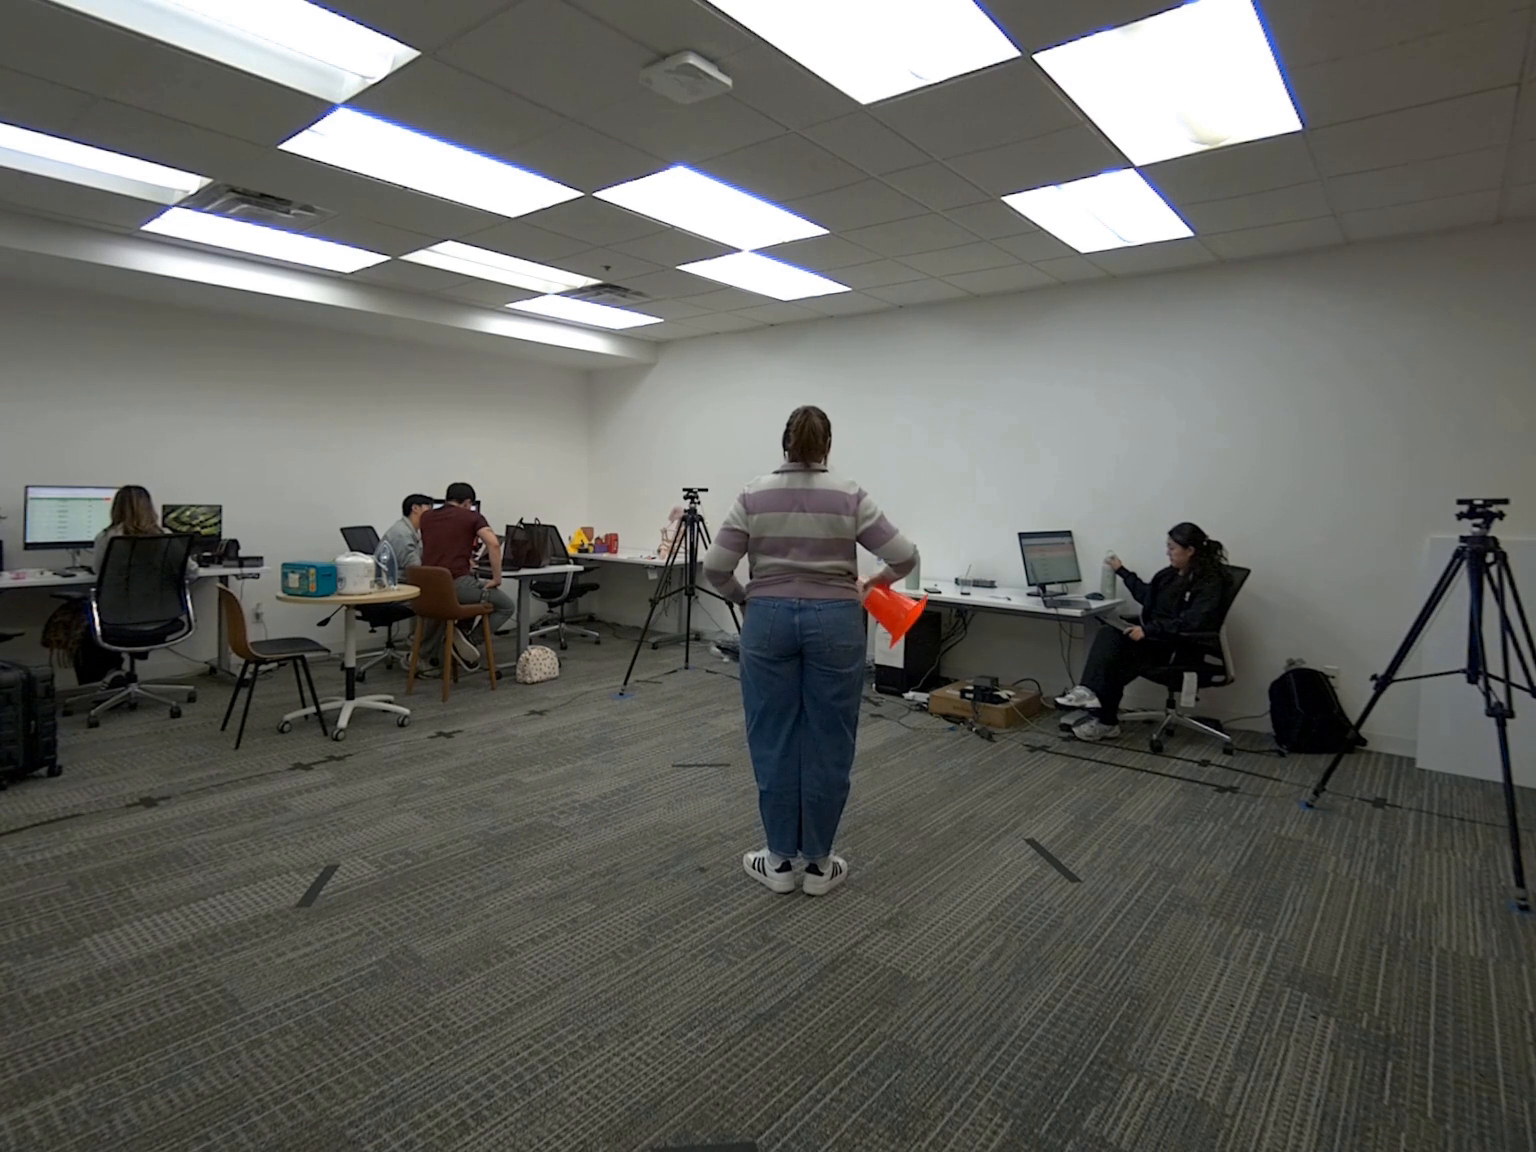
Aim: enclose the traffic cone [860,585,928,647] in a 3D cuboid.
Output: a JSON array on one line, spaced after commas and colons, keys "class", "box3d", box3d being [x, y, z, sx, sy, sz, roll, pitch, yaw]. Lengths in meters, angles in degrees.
[{"class": "traffic cone", "box3d": [0.365, 0.060, 3.191, 0.395, 0.204, 0.198, 37, -24, 20]}]
